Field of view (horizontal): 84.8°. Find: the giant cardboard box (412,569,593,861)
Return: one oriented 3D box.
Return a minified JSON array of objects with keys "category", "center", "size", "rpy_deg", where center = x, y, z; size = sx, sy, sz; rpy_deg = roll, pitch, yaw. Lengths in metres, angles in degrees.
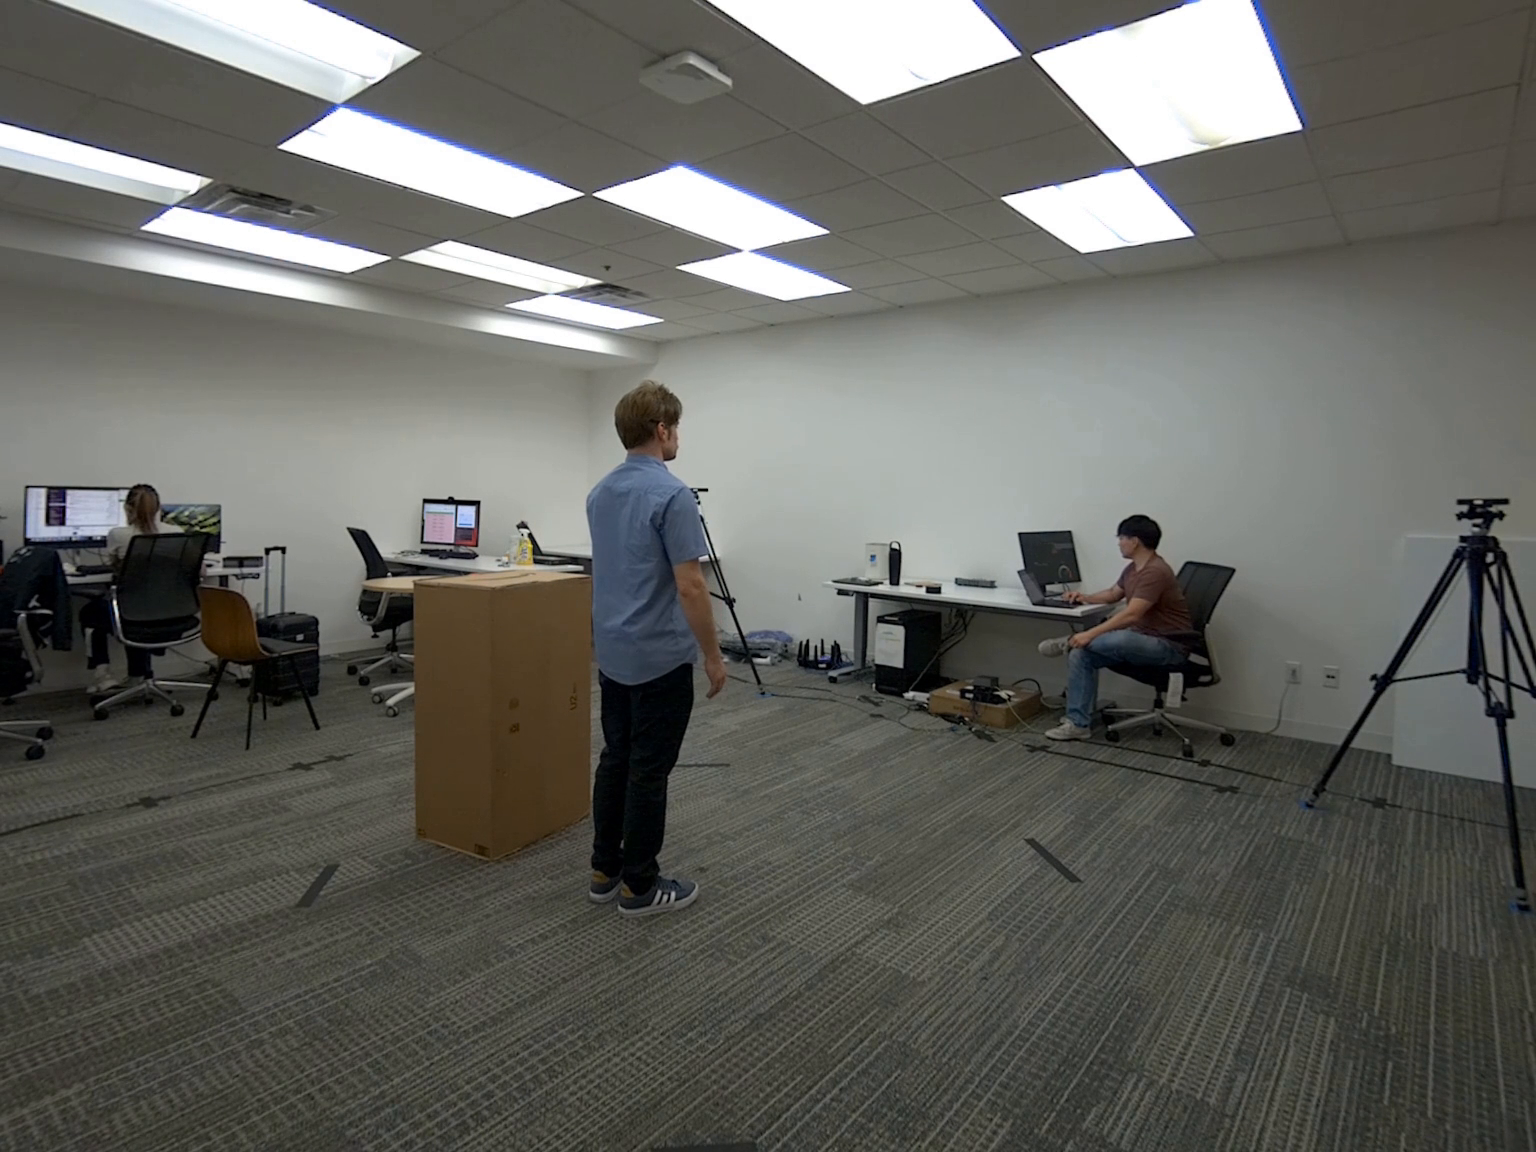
[{"category":"giant cardboard box","center":[-1.081,0.513,3.456],"size":[0.439,1.023,0.563],"rpy_deg":[3,4,29]}]
